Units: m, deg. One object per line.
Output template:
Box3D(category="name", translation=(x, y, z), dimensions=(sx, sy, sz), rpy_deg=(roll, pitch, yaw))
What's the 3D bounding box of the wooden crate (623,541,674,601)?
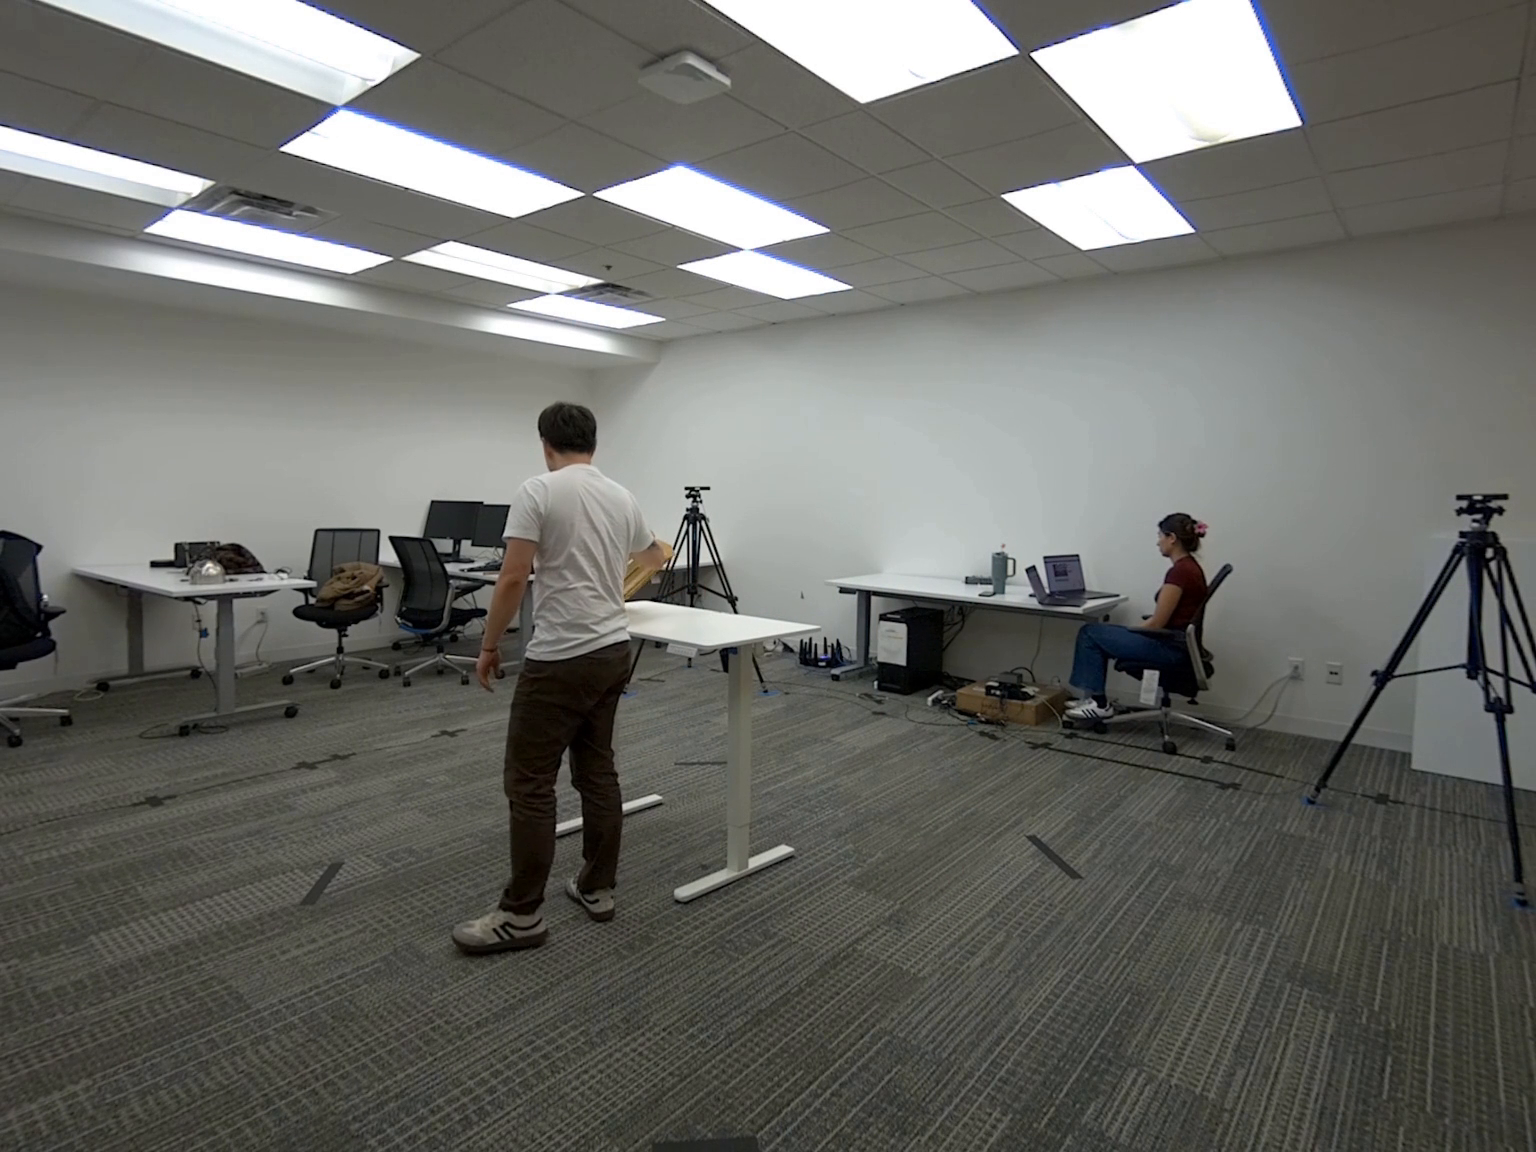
Box3D(category="wooden crate", translation=(-0.620, -0.083, 3.435), dimensions=(0.325, 0.275, 0.299), rpy_deg=(-40, -4, 22))
